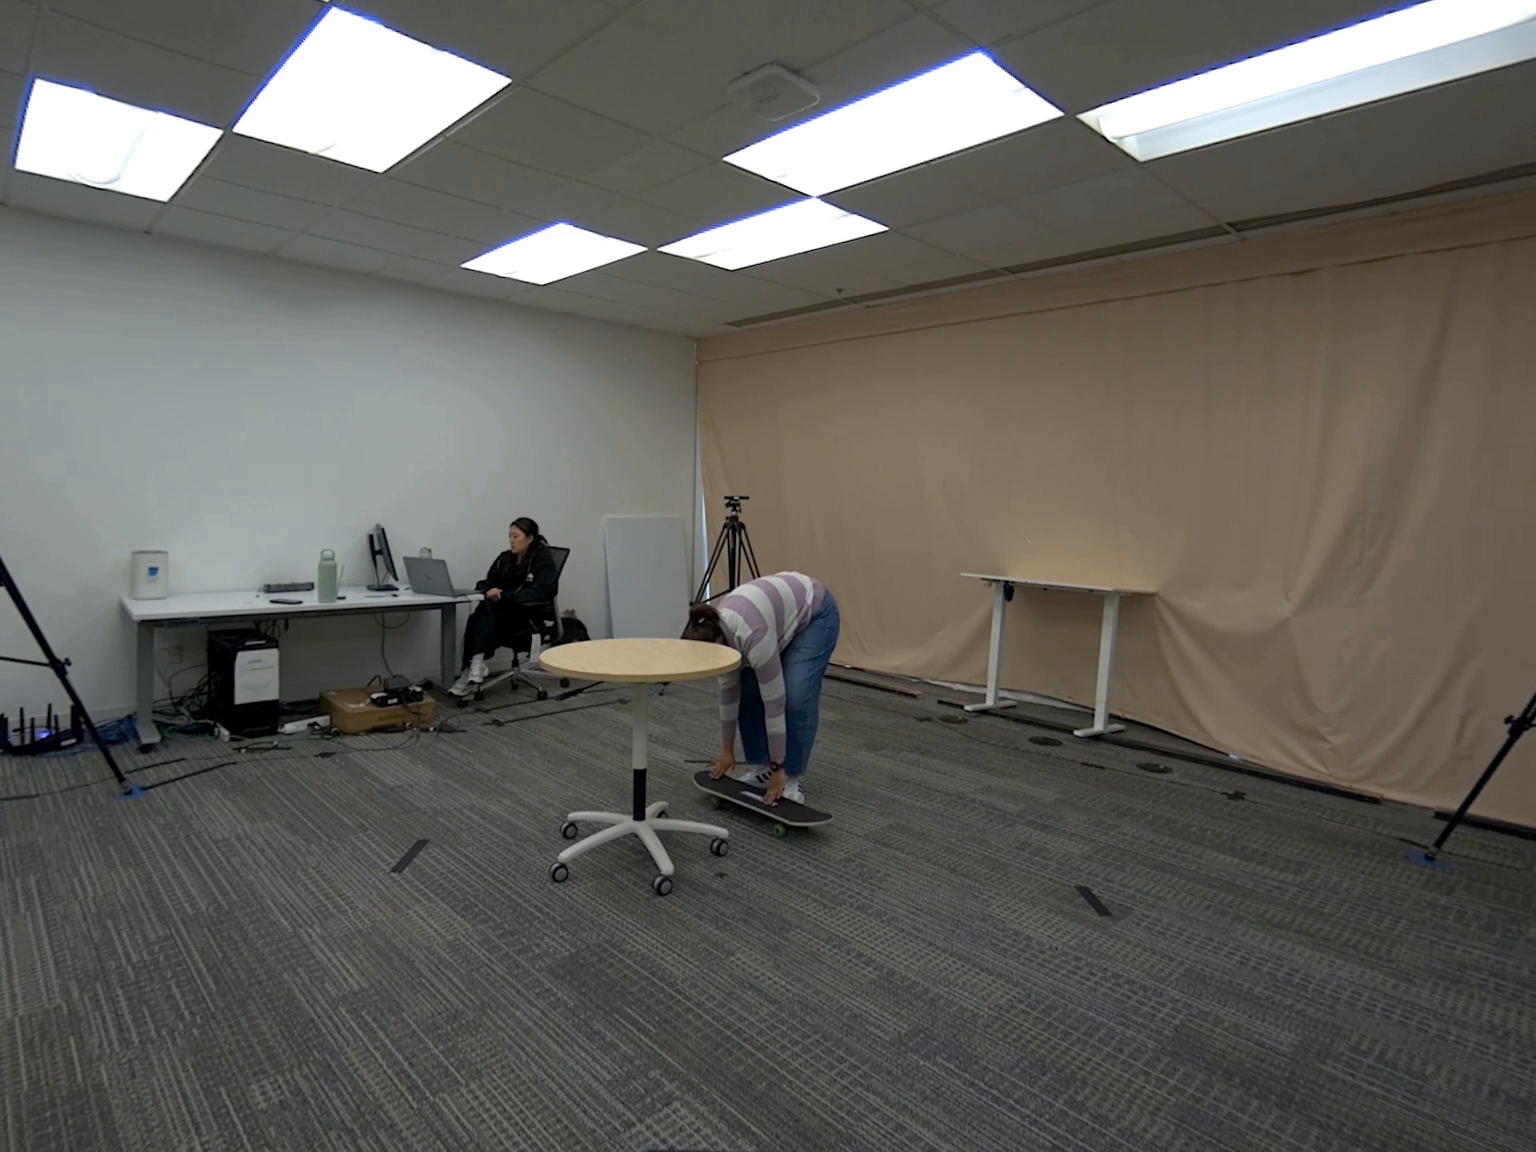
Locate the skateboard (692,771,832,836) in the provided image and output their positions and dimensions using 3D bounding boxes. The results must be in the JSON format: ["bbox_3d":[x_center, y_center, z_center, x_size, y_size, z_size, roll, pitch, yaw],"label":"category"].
[{"bbox_3d":[-0.057,0.997,3.675,0.189,0.110,0.806,-4,7,-44],"label":"skateboard"}]
